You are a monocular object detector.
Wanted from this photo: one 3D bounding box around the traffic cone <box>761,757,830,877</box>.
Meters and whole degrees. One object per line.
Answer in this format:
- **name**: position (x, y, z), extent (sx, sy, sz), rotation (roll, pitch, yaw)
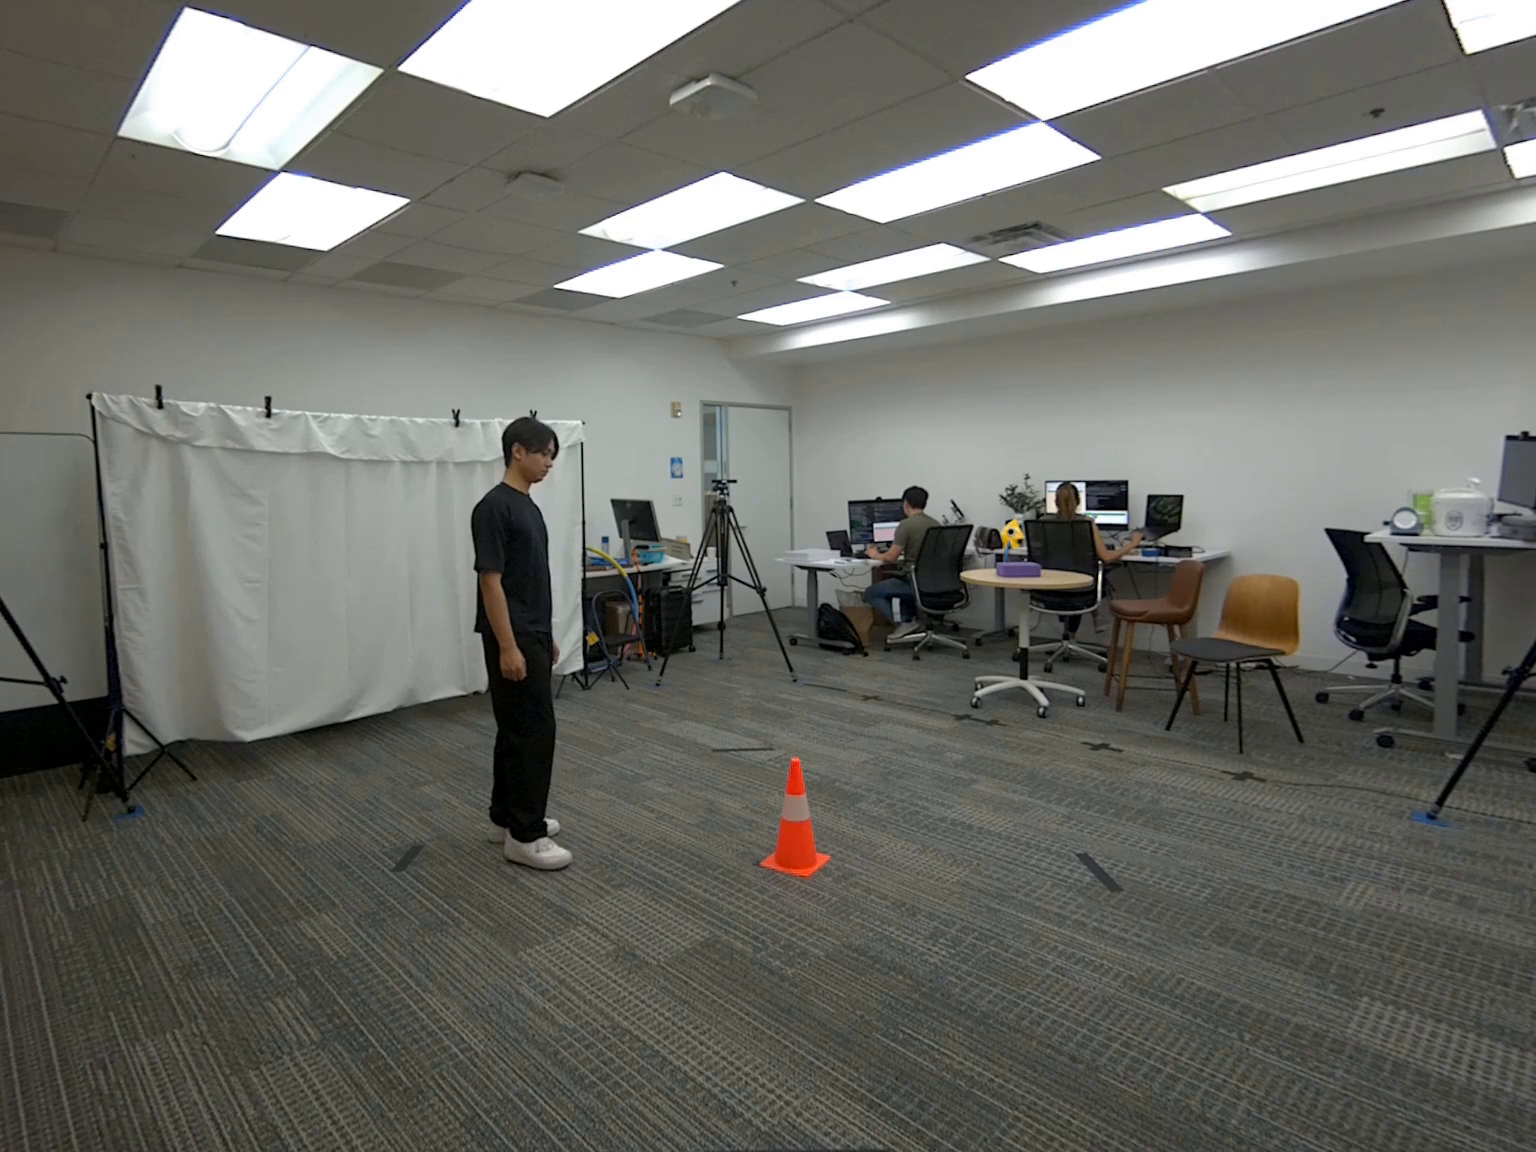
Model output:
- **traffic cone**: position (0.092, 0.858, 3.113), extent (0.209, 0.382, 0.200), rotation (0, 5, 31)
